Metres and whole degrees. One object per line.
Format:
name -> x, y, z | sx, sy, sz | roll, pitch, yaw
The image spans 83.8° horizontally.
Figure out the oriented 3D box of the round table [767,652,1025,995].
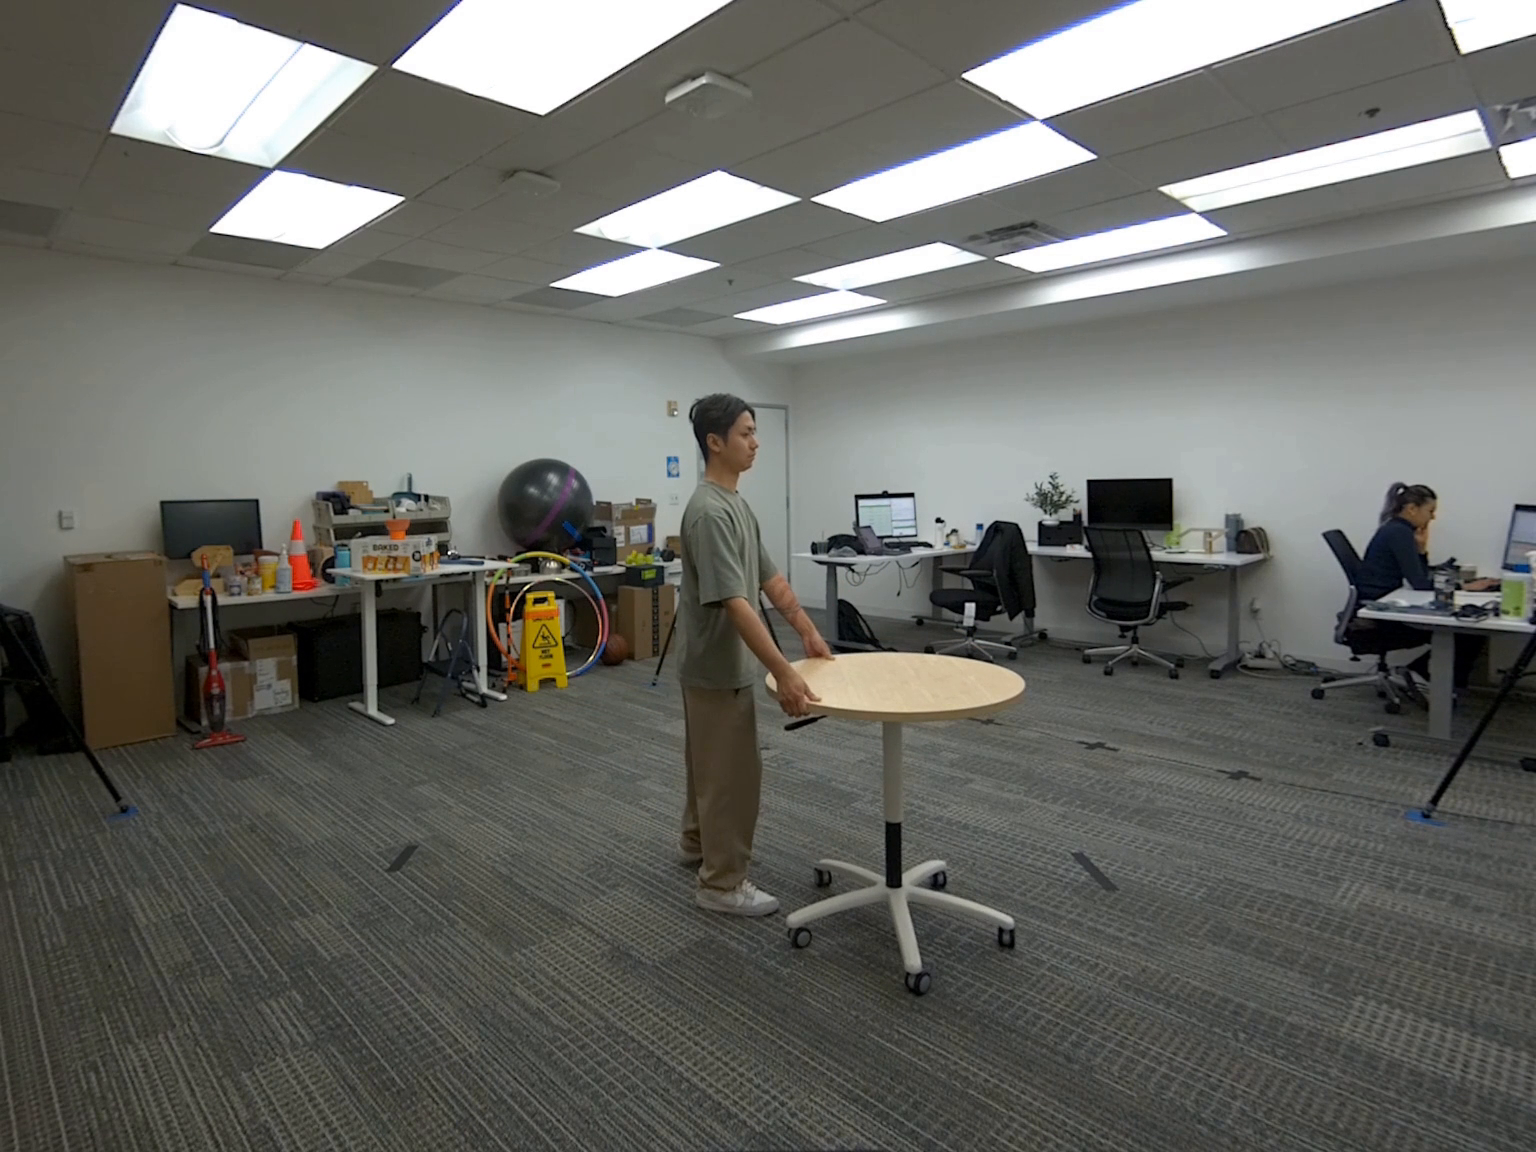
round table -> 0.397, 0.694, 2.613 | 0.784, 0.783, 0.789 | -2, 5, -2
